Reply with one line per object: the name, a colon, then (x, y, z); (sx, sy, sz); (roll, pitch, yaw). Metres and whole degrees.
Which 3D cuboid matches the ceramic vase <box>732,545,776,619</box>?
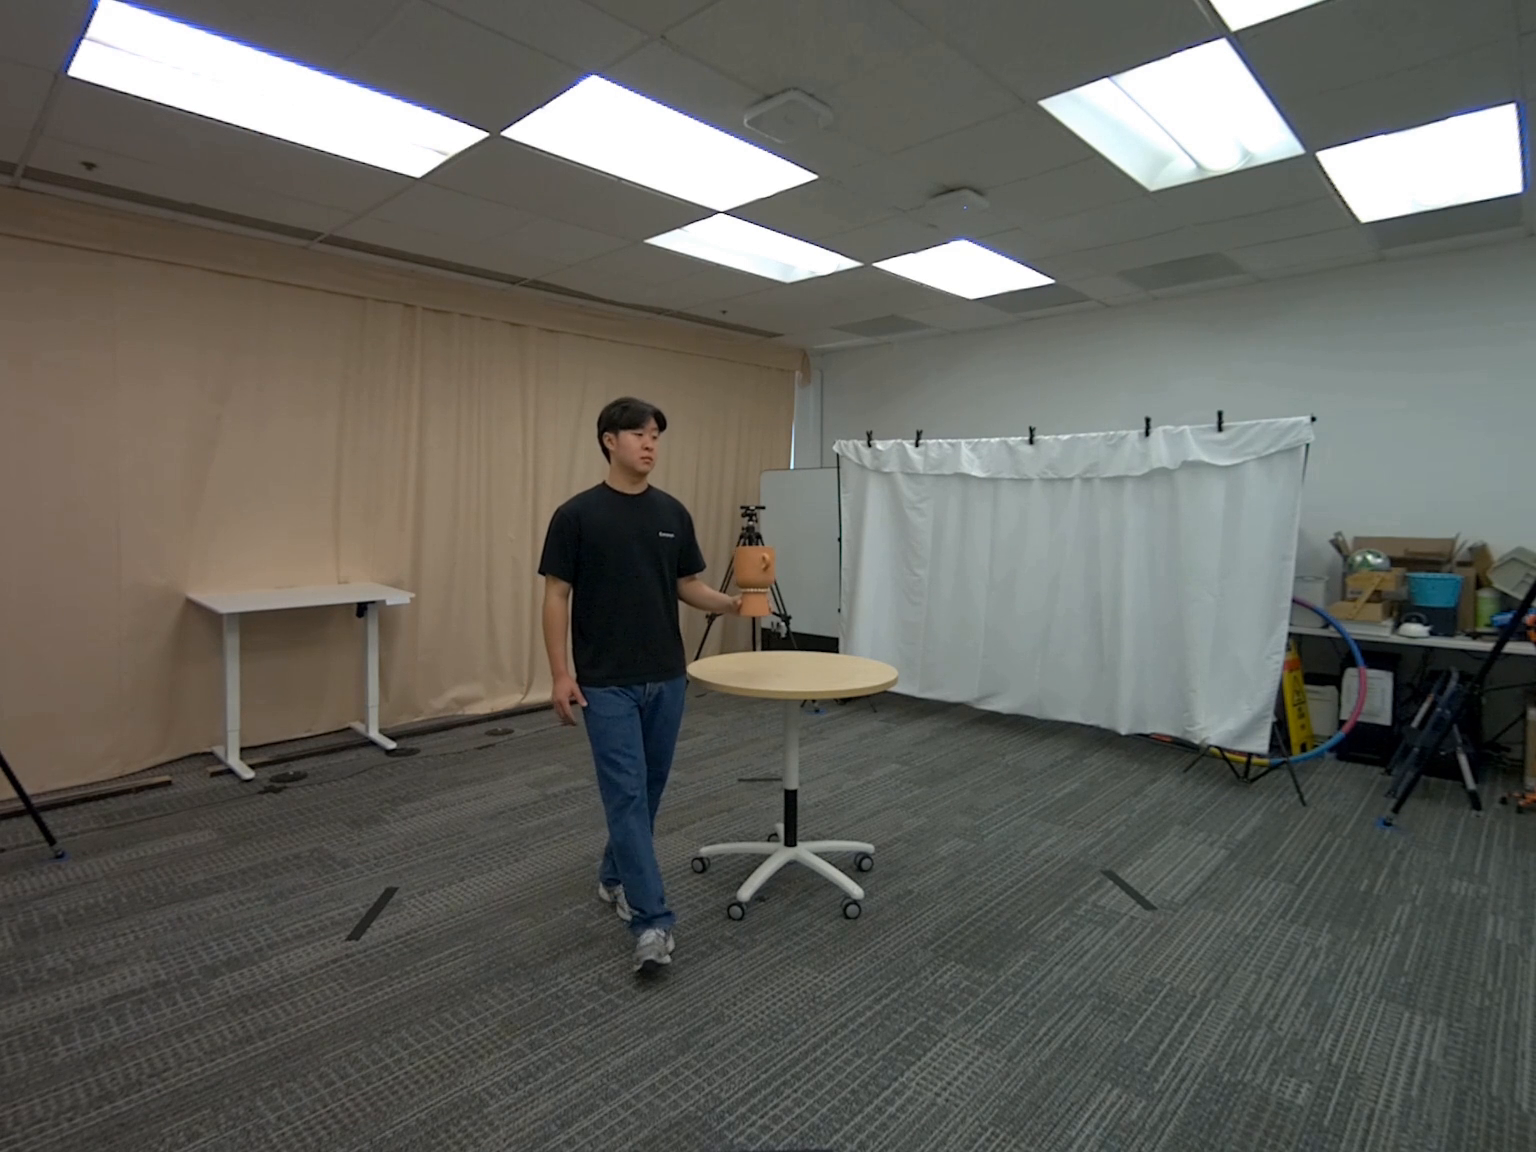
ceramic vase: (-0.040, 0.016, 2.669); (0.137, 0.220, 0.156); (-1, -2, 14)
